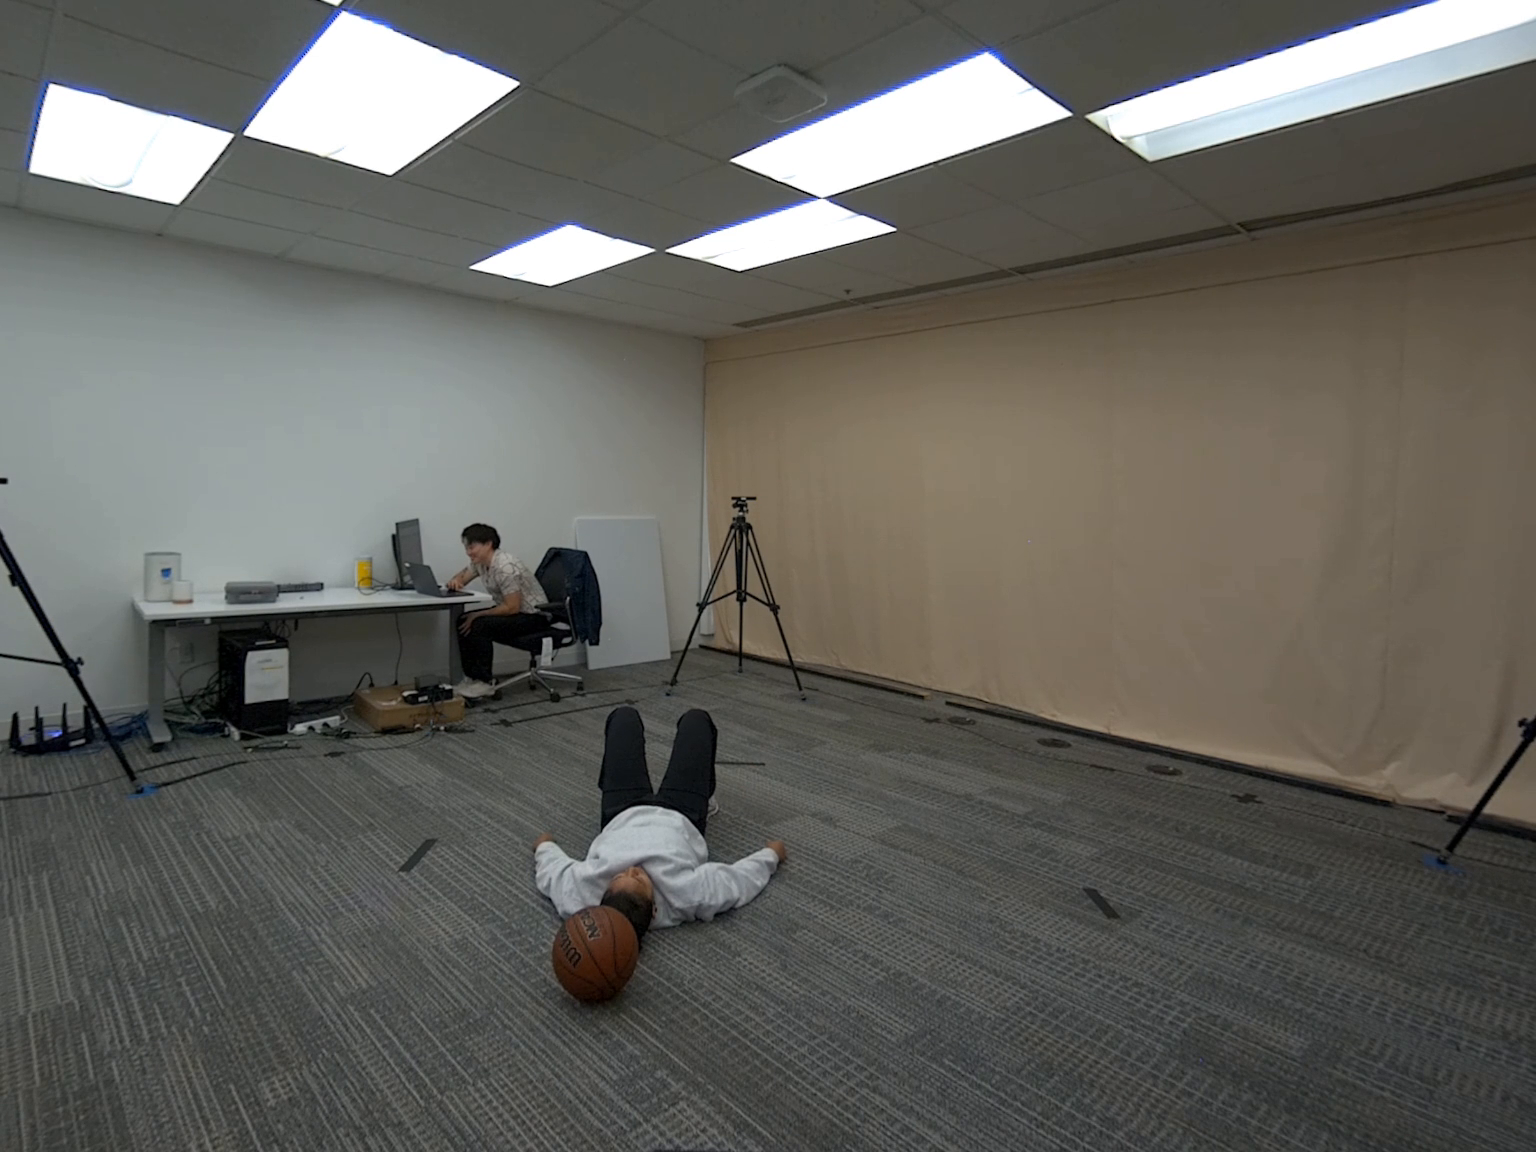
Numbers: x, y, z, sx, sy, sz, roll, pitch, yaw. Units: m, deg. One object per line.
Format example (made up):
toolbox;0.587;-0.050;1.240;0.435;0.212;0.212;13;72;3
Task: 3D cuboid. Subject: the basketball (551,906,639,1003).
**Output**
basketball;-0.488;1.057;2.339;0.236;0.235;0.237;1;4;-1
